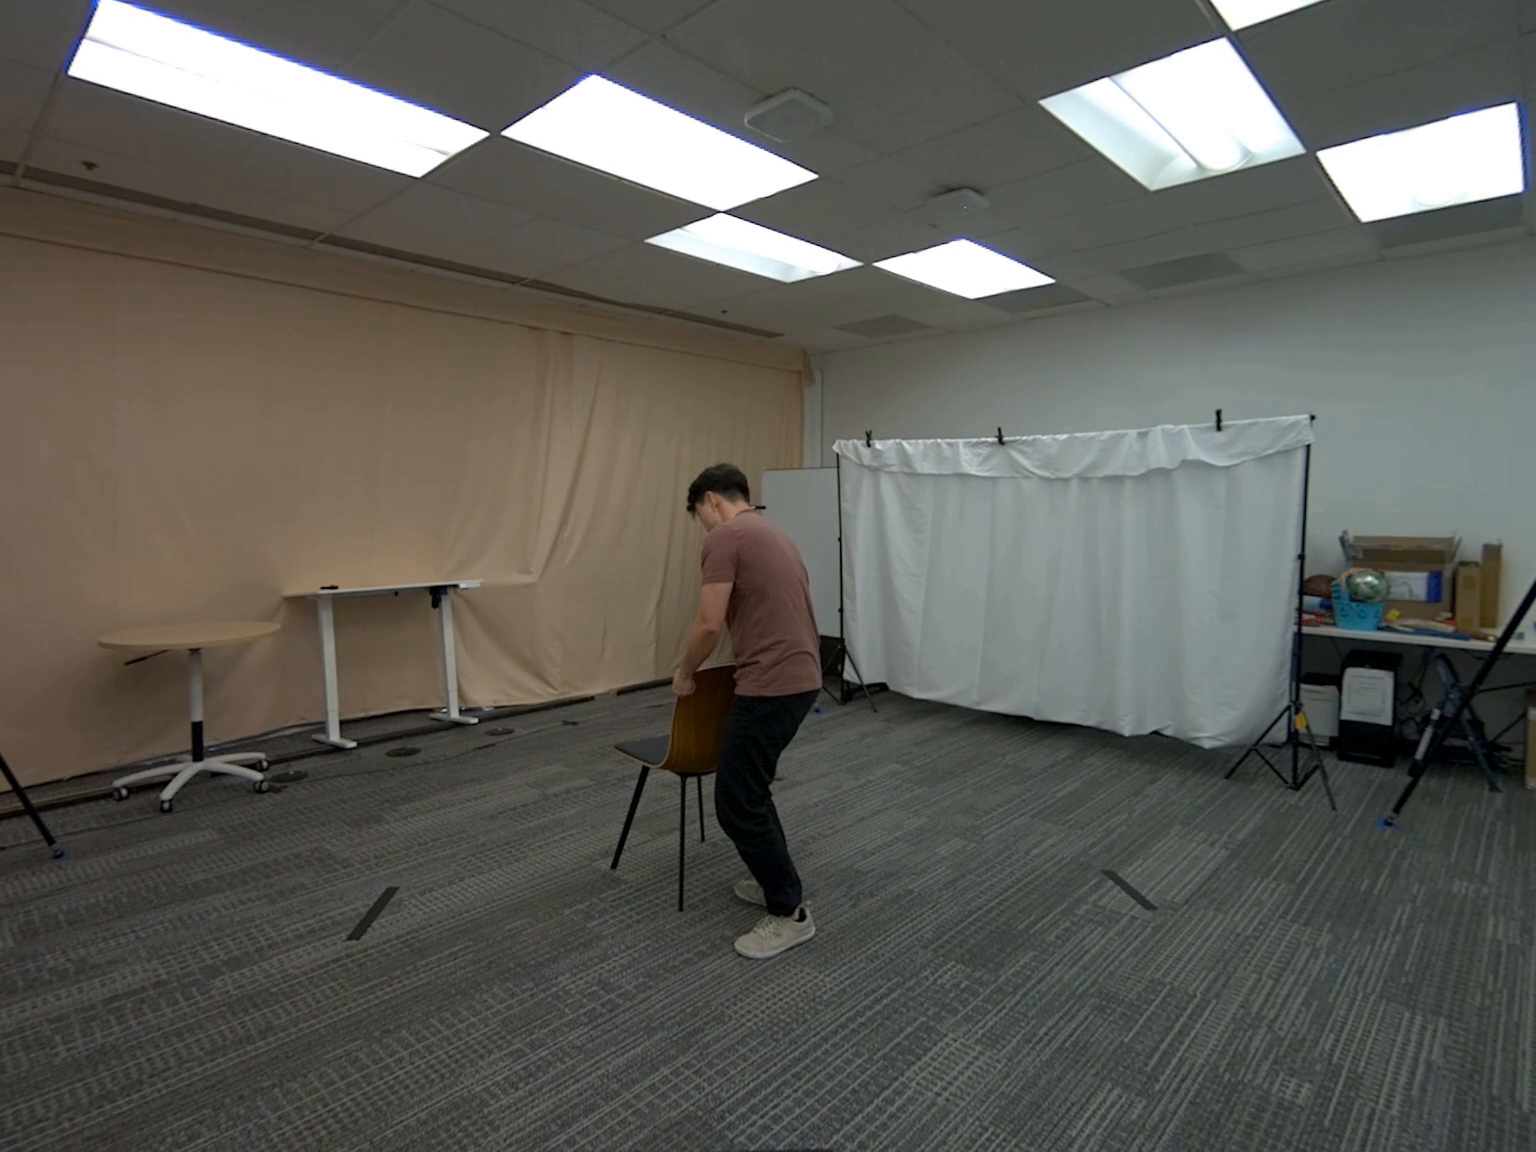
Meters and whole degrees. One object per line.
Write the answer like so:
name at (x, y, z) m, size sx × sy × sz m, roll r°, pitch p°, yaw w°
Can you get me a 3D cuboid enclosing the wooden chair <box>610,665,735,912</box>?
wooden chair at (-0.295, 0.701, 3.178) m, size 0.463 × 0.874 × 0.541 m, roll -3°, pitch 9°, yaw -40°
